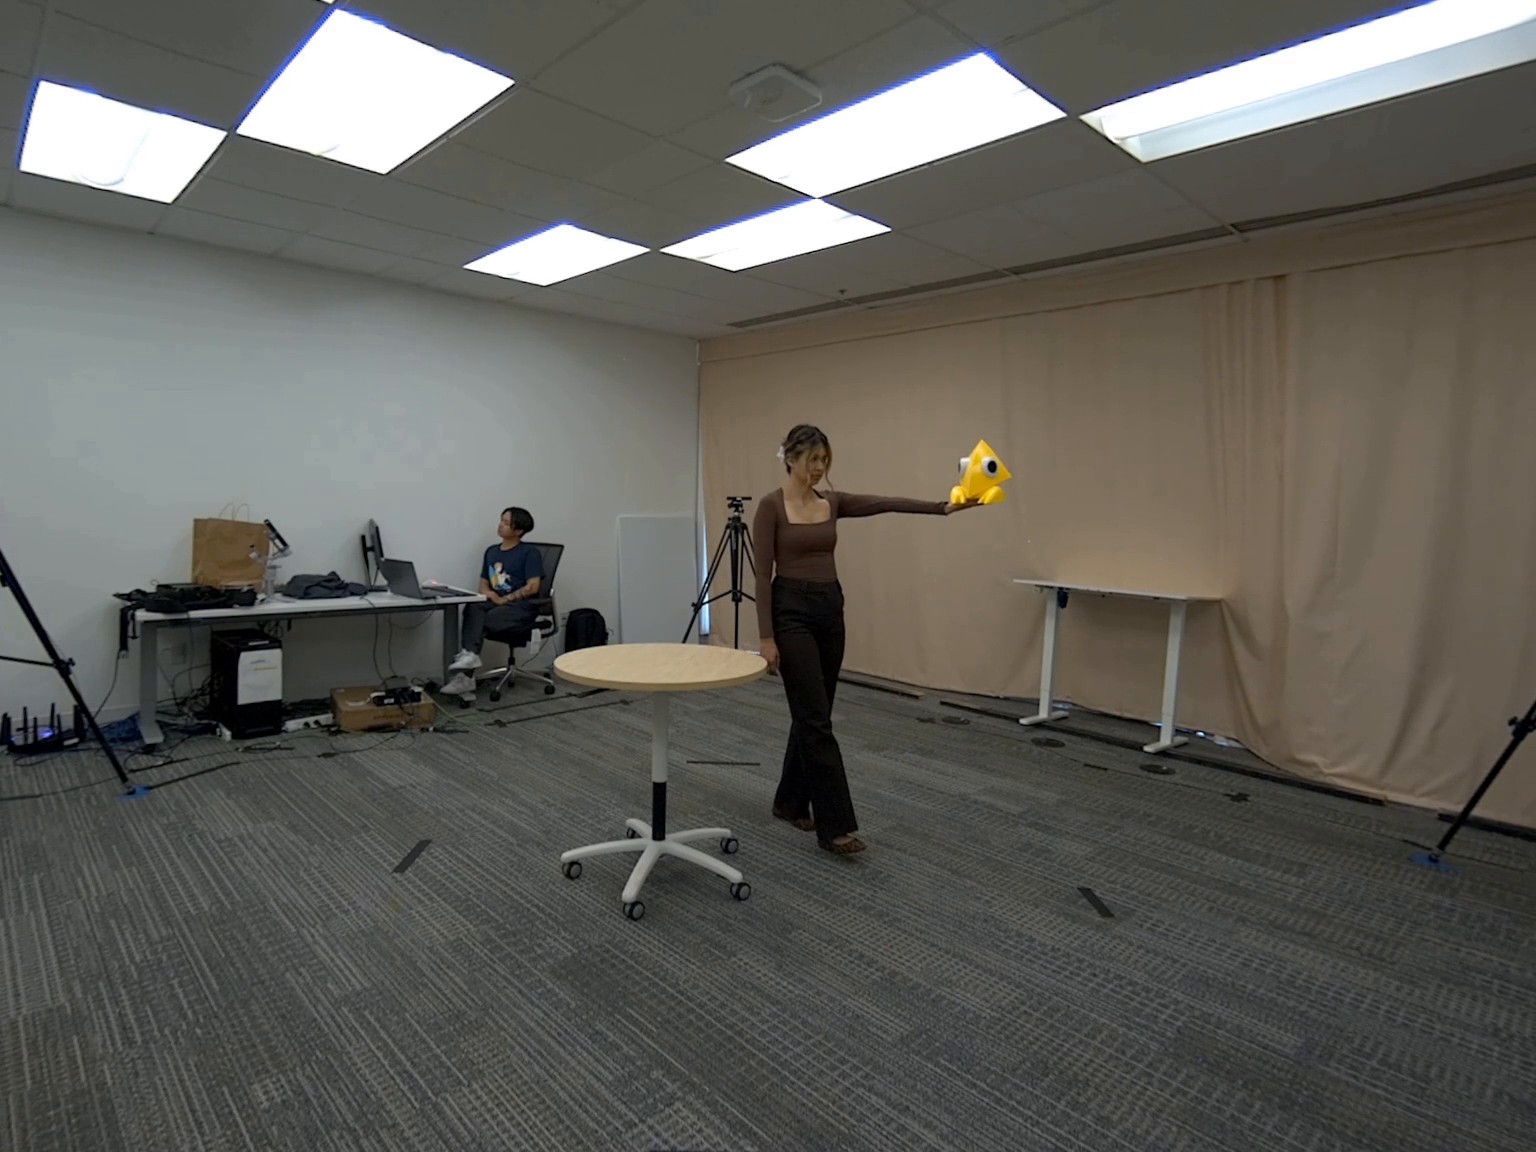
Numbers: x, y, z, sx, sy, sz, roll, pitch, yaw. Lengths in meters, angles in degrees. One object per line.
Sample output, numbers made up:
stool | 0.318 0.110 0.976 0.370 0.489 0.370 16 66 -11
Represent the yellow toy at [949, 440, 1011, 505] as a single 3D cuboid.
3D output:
yellow toy | 0.803 -0.407 3.250 0.209 0.229 0.190 3 13 35
